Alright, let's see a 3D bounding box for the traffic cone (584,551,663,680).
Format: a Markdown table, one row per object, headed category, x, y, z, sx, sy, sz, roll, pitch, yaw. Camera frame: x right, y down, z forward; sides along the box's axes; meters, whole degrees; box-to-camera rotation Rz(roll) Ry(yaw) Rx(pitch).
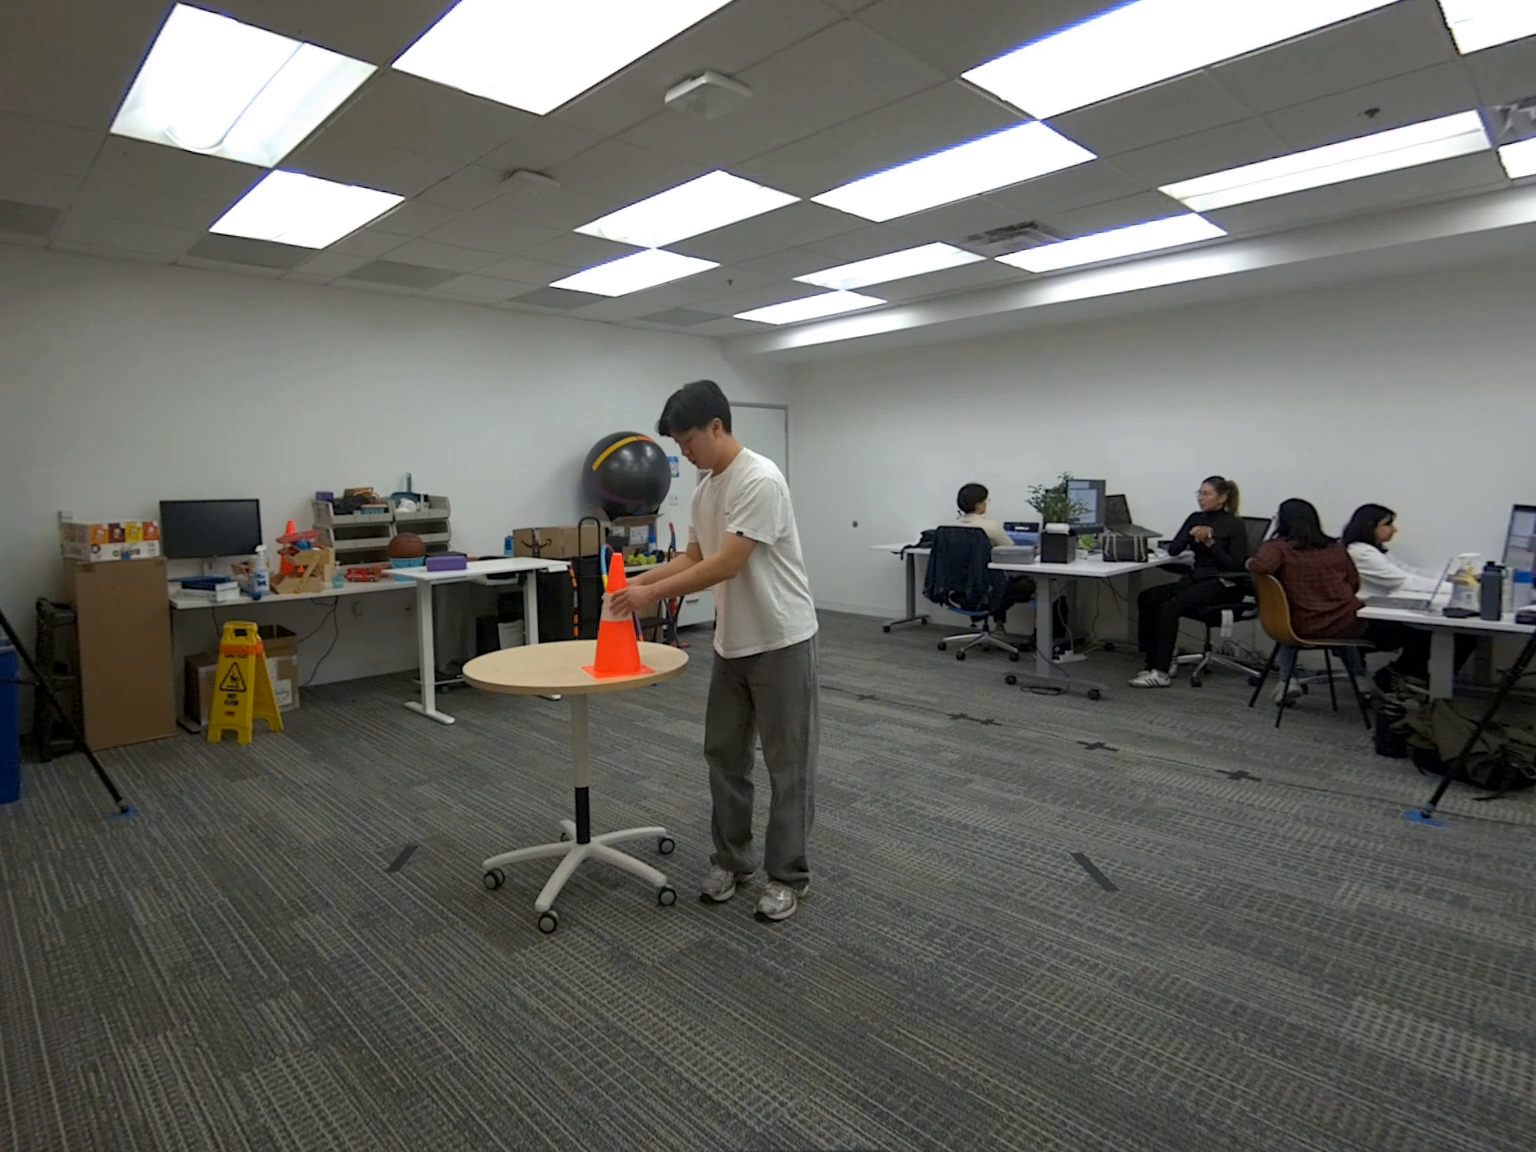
| category | x | y | z | sx | sy | sz | roll | pitch | yaw |
| --- | --- | --- | --- | --- | --- | --- | --- | --- | --- |
| traffic cone | -0.475 | 0.118 | 2.788 | 0.199 | 0.383 | 0.209 | -1 | 2 | -21 |
